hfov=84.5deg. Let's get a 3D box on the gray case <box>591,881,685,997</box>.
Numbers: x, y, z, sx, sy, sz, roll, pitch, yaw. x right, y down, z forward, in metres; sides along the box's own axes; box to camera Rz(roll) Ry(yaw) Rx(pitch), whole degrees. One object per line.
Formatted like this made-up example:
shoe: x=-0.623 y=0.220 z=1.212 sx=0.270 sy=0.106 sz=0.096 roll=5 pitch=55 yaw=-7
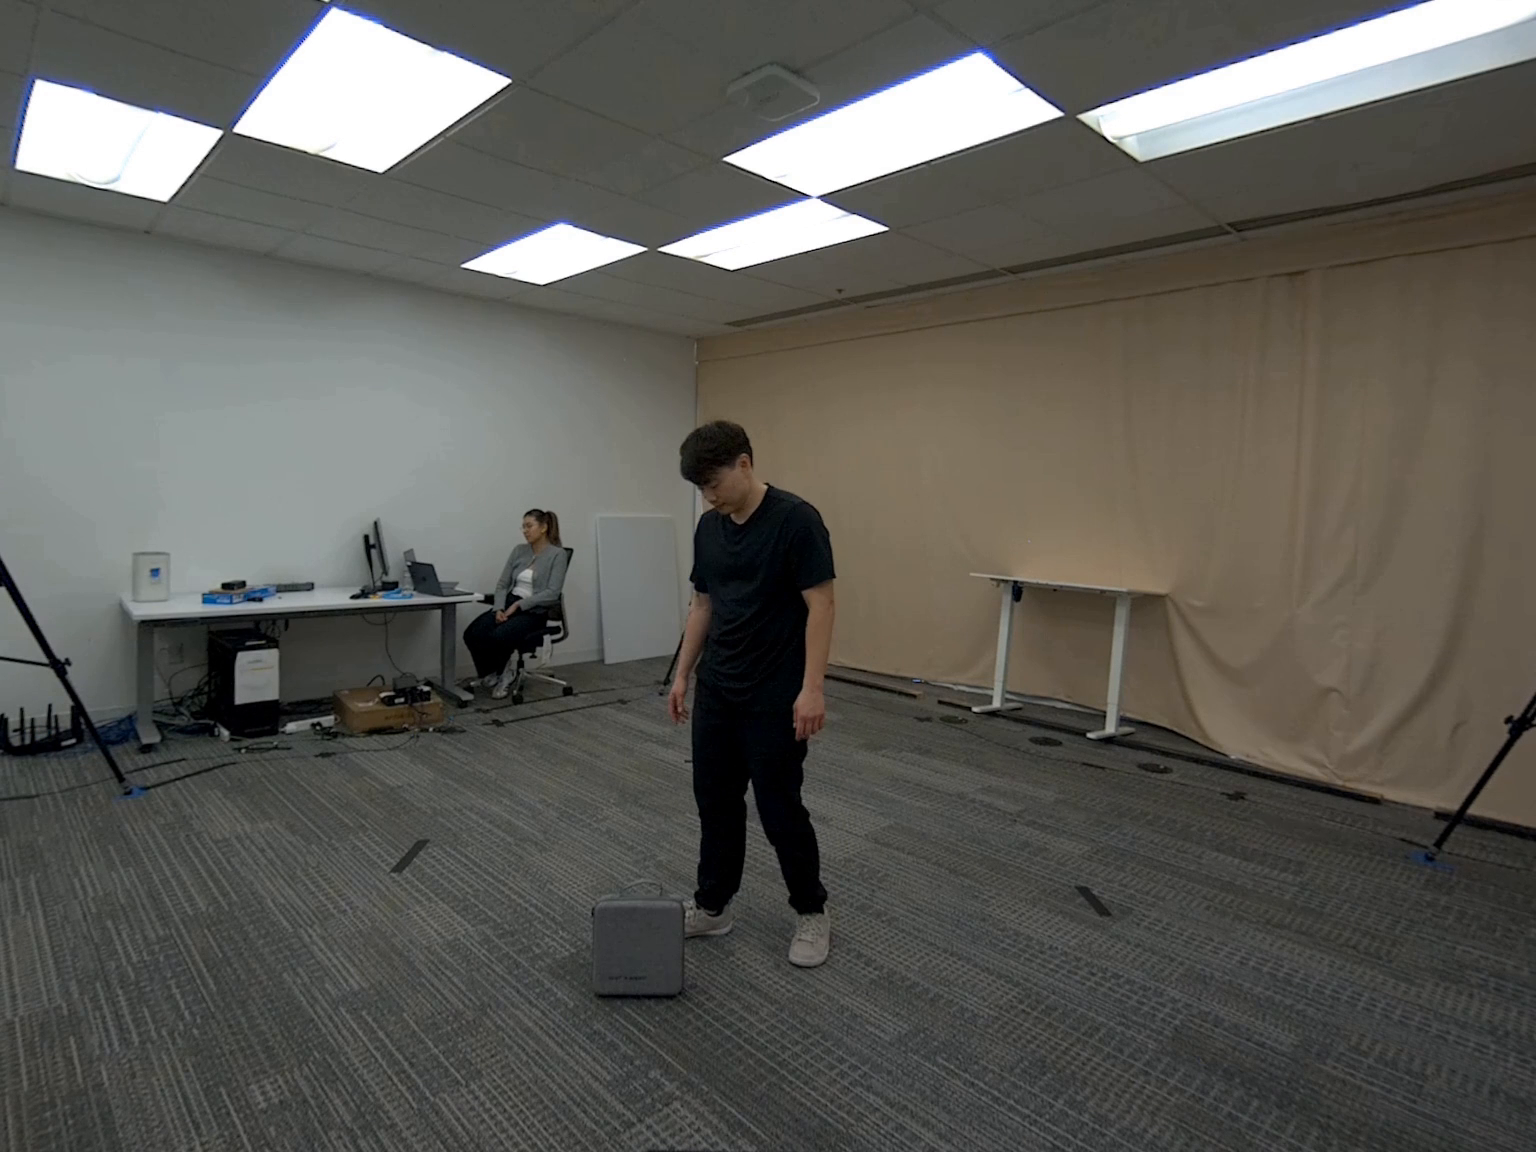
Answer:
gray case: x=-0.373 y=1.032 z=2.371 sx=0.257 sy=0.262 sz=0.104 roll=1 pitch=-6 yaw=0
